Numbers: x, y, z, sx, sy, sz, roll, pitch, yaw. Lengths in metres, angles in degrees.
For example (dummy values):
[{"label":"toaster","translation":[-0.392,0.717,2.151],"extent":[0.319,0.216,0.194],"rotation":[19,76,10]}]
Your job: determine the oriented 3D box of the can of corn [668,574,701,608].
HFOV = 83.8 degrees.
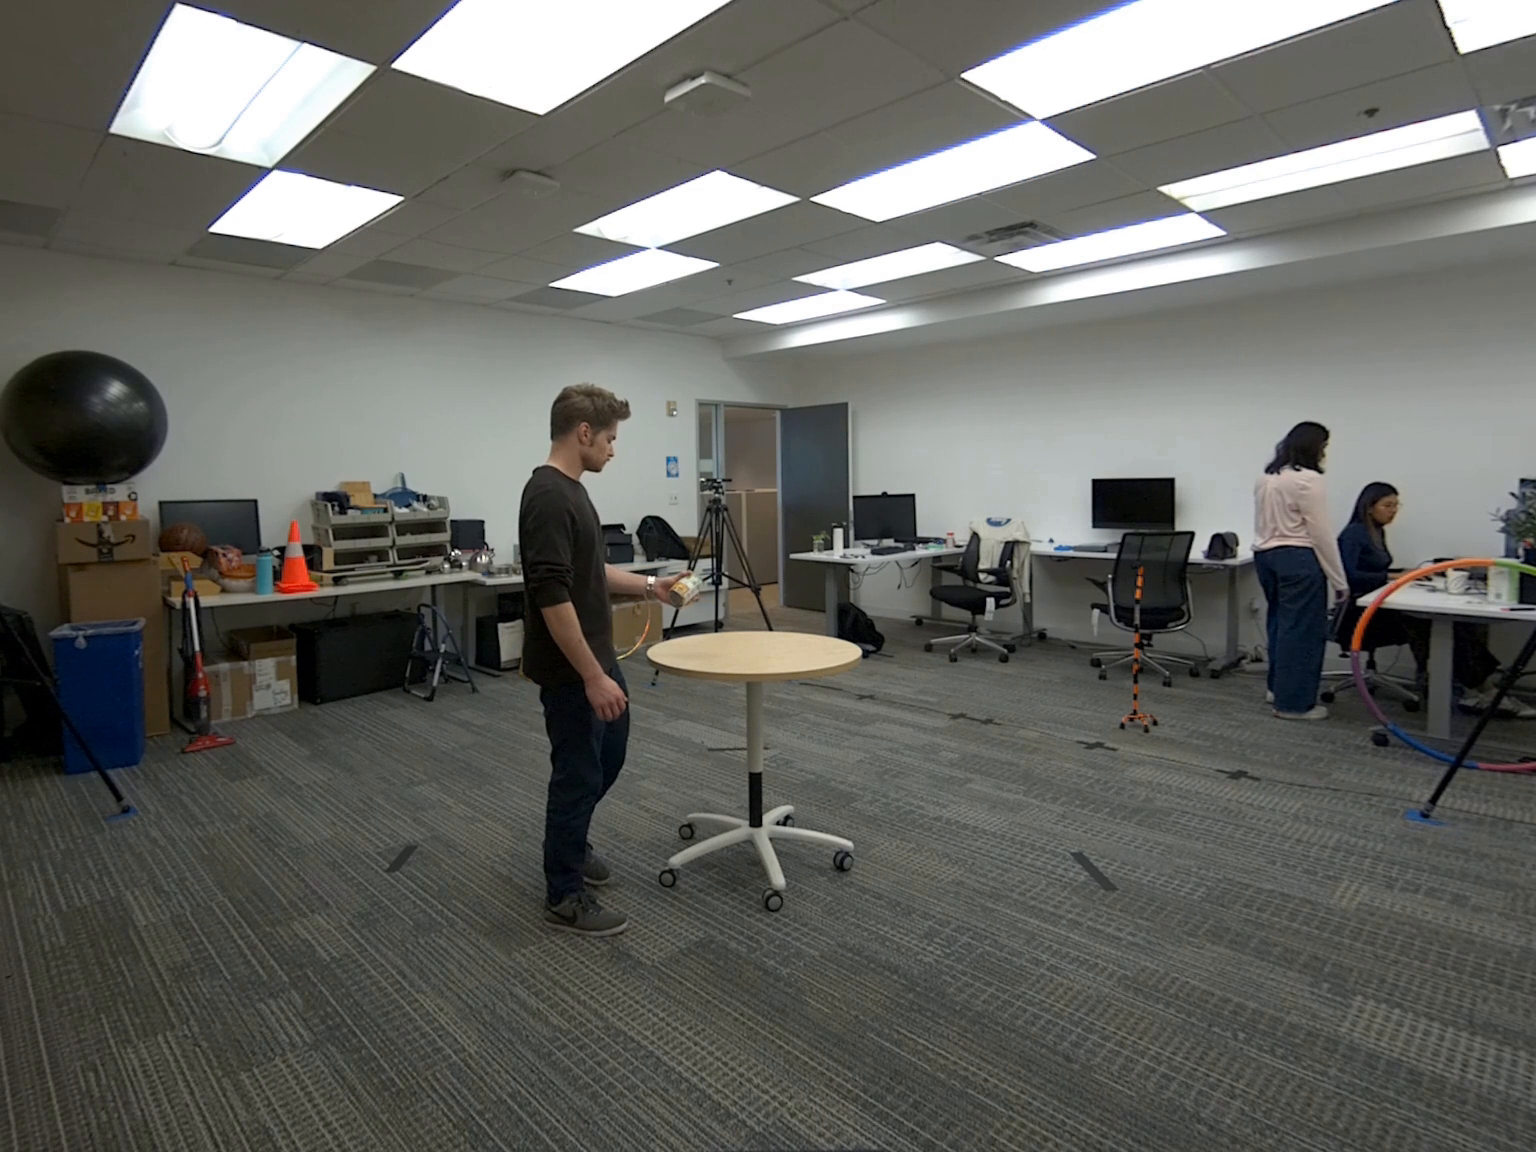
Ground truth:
[{"label":"can of corn","translation":[-0.267,0.034,2.931],"extent":[0.076,0.072,0.110],"rotation":[2,26,30]}]
